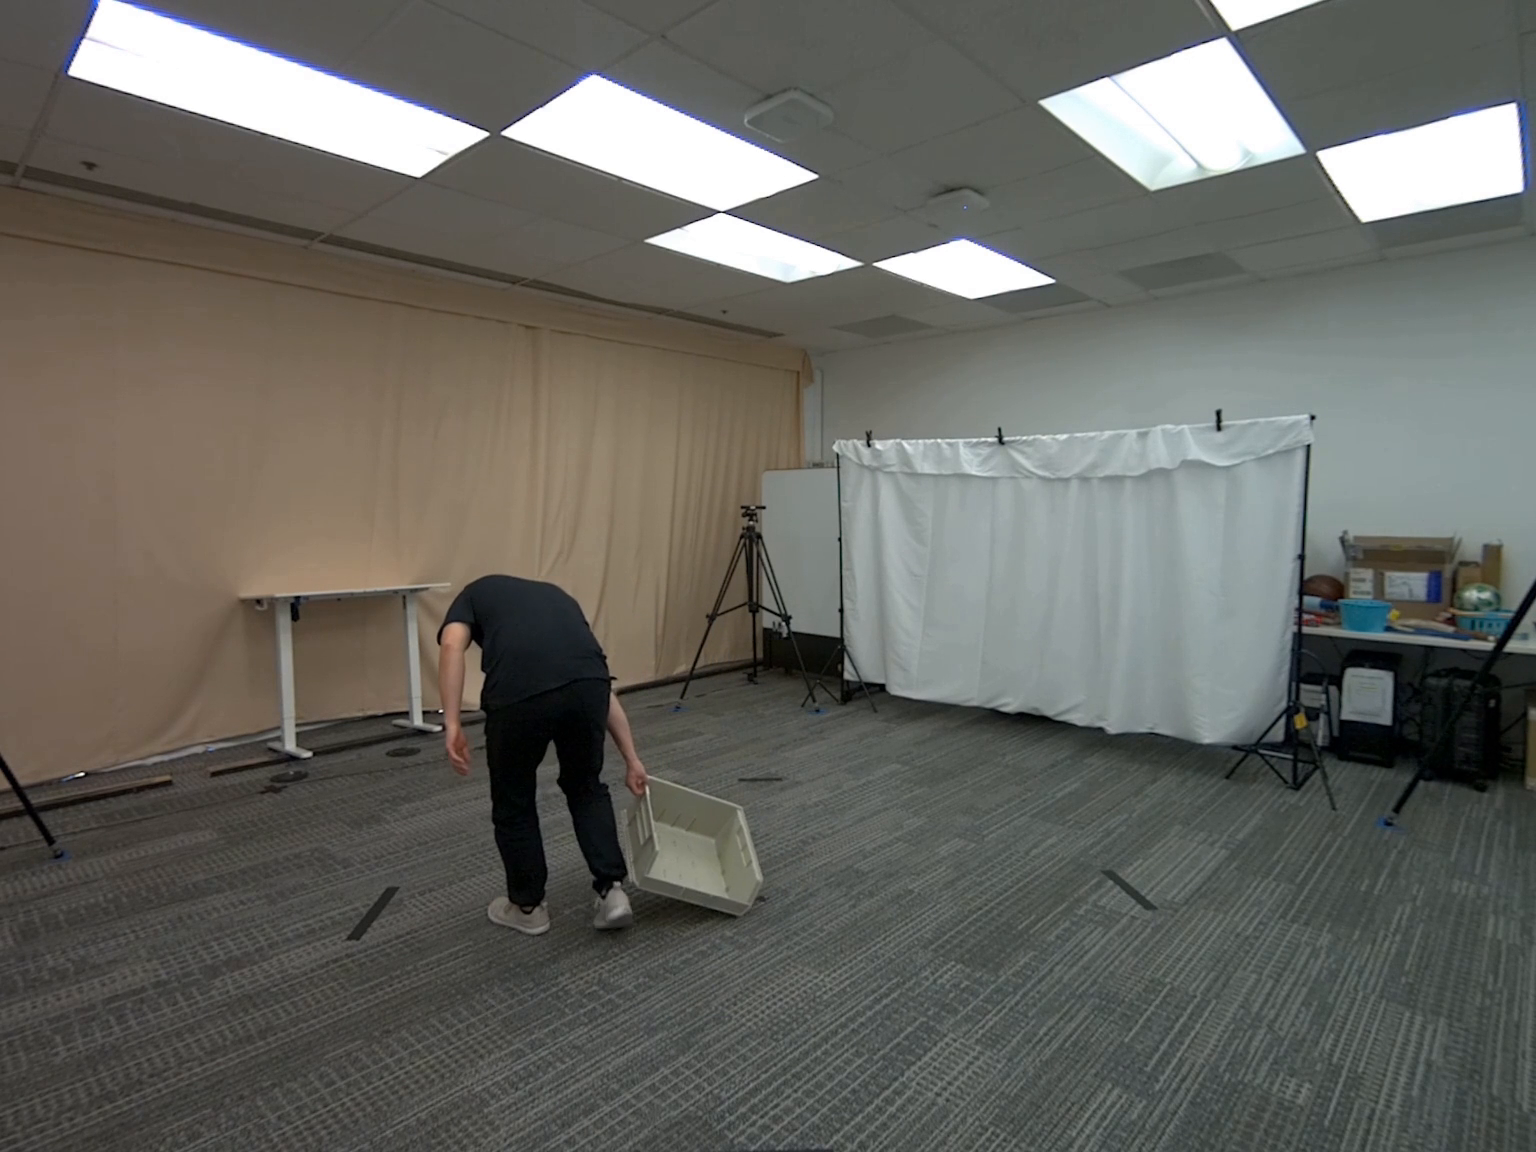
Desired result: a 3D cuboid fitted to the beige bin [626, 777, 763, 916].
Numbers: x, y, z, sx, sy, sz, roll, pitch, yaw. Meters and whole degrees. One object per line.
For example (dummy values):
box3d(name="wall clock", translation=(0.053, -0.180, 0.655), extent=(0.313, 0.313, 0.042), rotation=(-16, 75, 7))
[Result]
box3d(name="beige bin", translation=(-0.260, 0.940, 2.908), extent=(0.411, 0.189, 0.387), rotation=(24, 19, -24))
